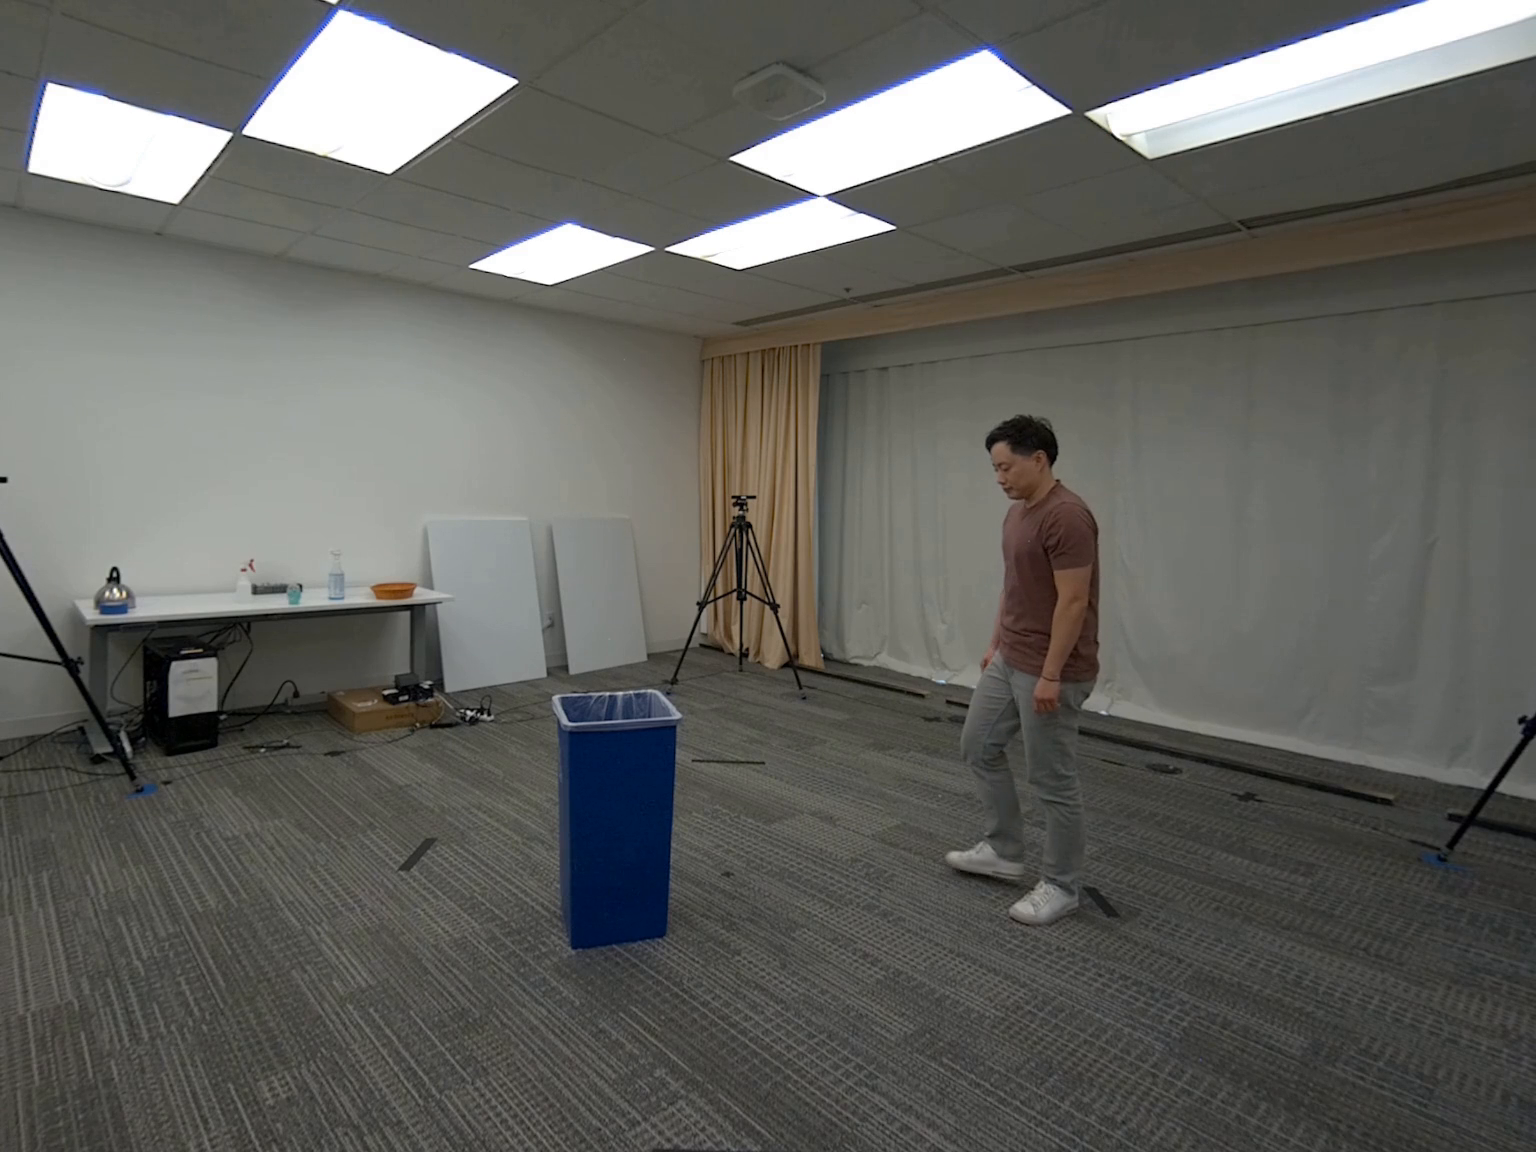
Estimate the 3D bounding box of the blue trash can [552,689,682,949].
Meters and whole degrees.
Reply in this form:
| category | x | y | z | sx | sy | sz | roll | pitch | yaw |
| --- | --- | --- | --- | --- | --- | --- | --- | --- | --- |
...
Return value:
| category | x | y | z | sx | sy | sz | roll | pitch | yaw |
| --- | --- | --- | --- | --- | --- | --- | --- | --- | --- |
| blue trash can | -0.498 | 0.769 | 2.724 | 0.372 | 0.712 | 0.380 | 0 | 4 | -20 |
